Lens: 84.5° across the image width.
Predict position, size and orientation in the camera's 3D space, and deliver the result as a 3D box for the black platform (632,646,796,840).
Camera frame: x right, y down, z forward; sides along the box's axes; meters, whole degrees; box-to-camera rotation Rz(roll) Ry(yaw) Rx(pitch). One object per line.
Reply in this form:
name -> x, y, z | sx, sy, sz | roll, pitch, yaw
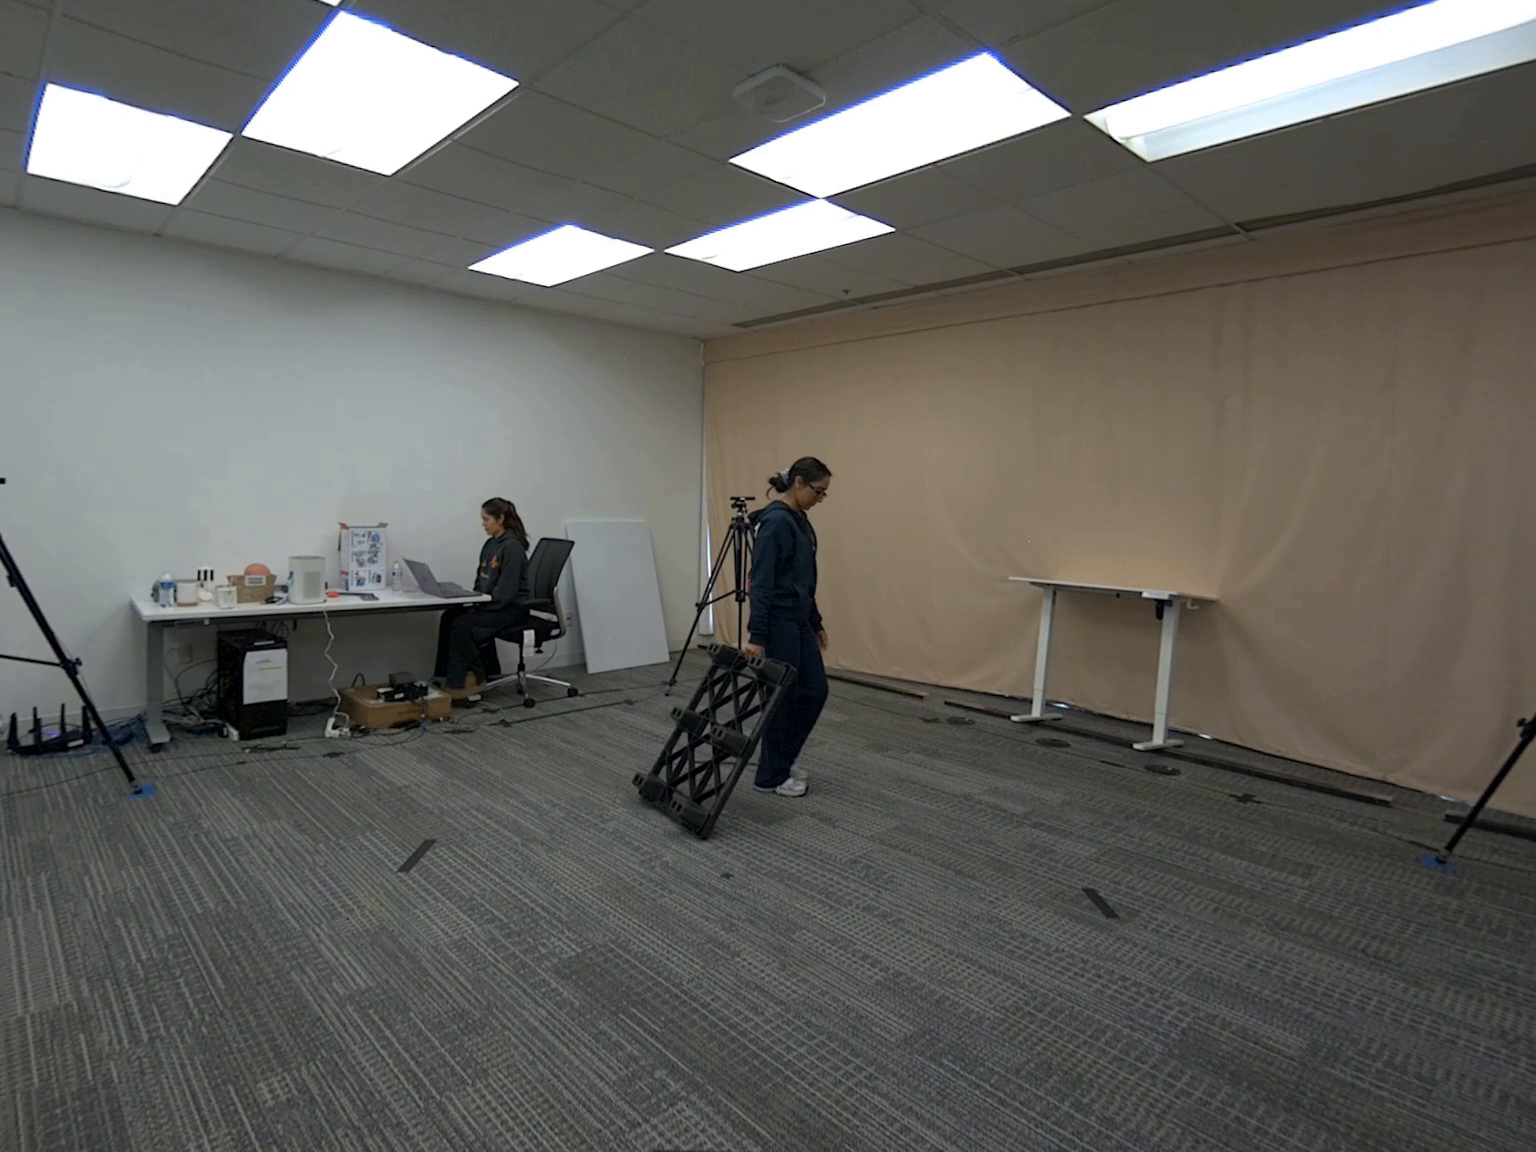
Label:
black platform -> -0.282, 0.680, 3.727 | 0.139, 0.808, 0.619 | 37, -17, -31
